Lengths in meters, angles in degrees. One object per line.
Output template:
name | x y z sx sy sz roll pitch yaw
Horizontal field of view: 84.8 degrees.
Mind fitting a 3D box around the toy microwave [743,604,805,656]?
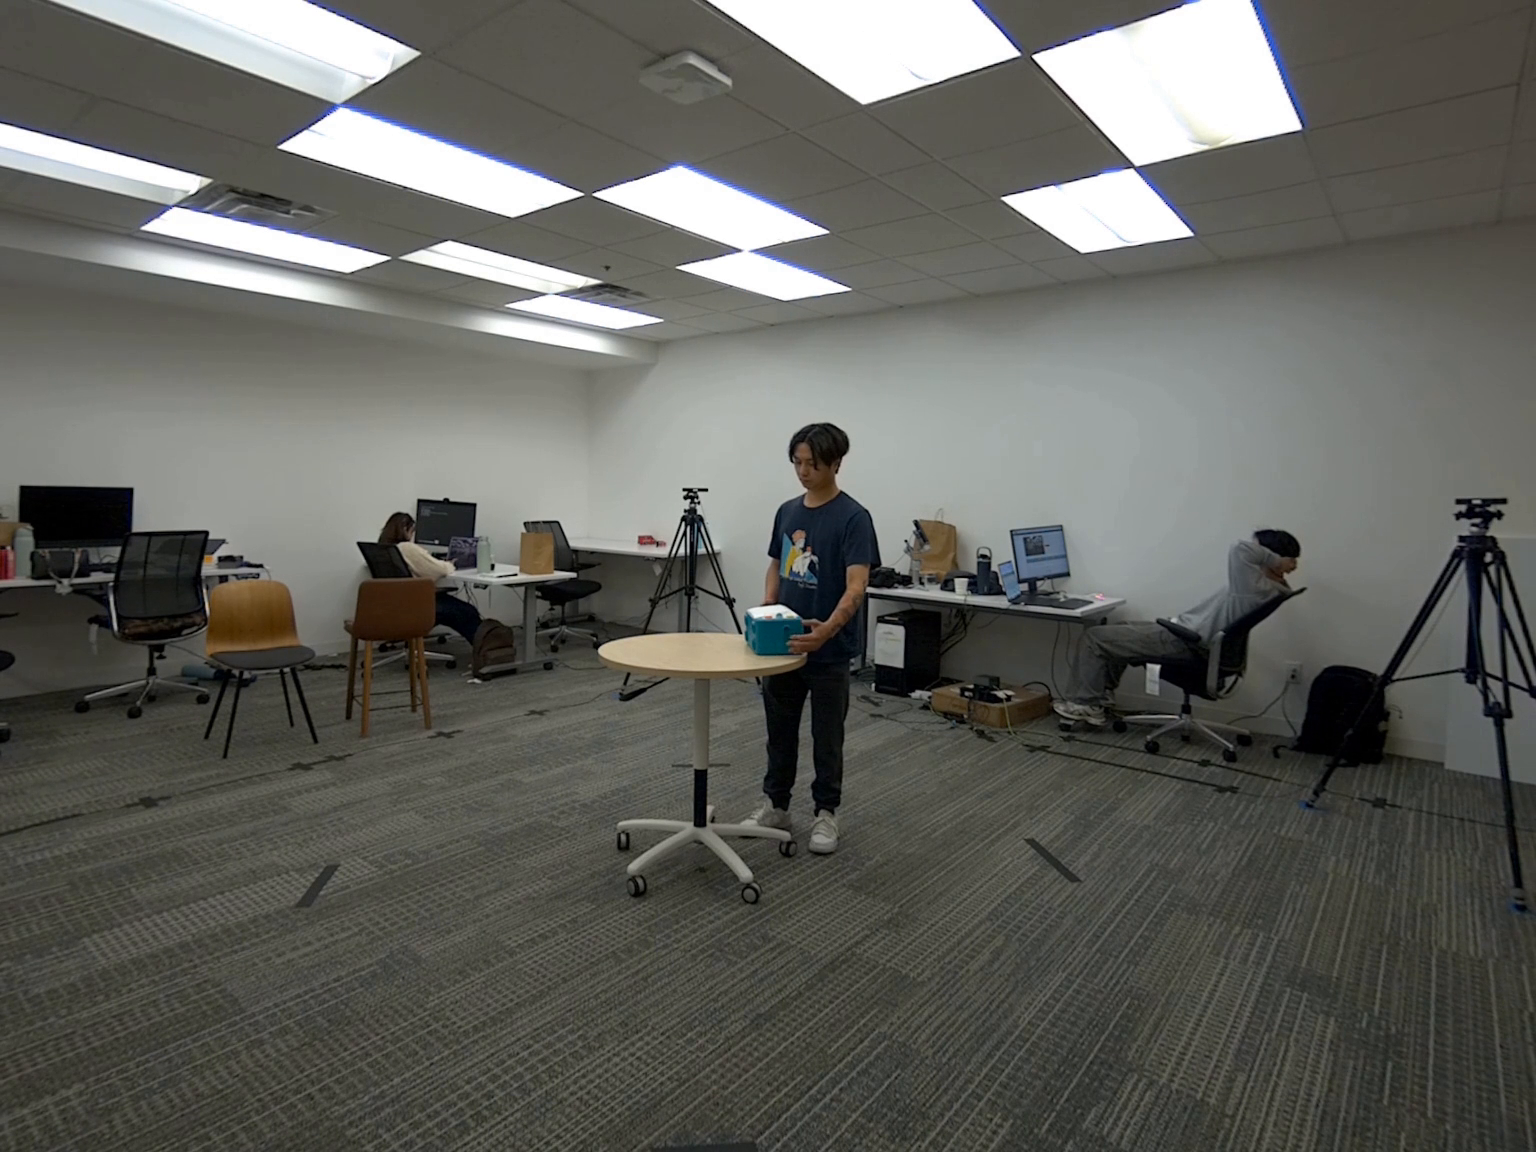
toy microwave | 0.008 0.195 3.170 0.183 0.152 0.289 -4 5 -6
